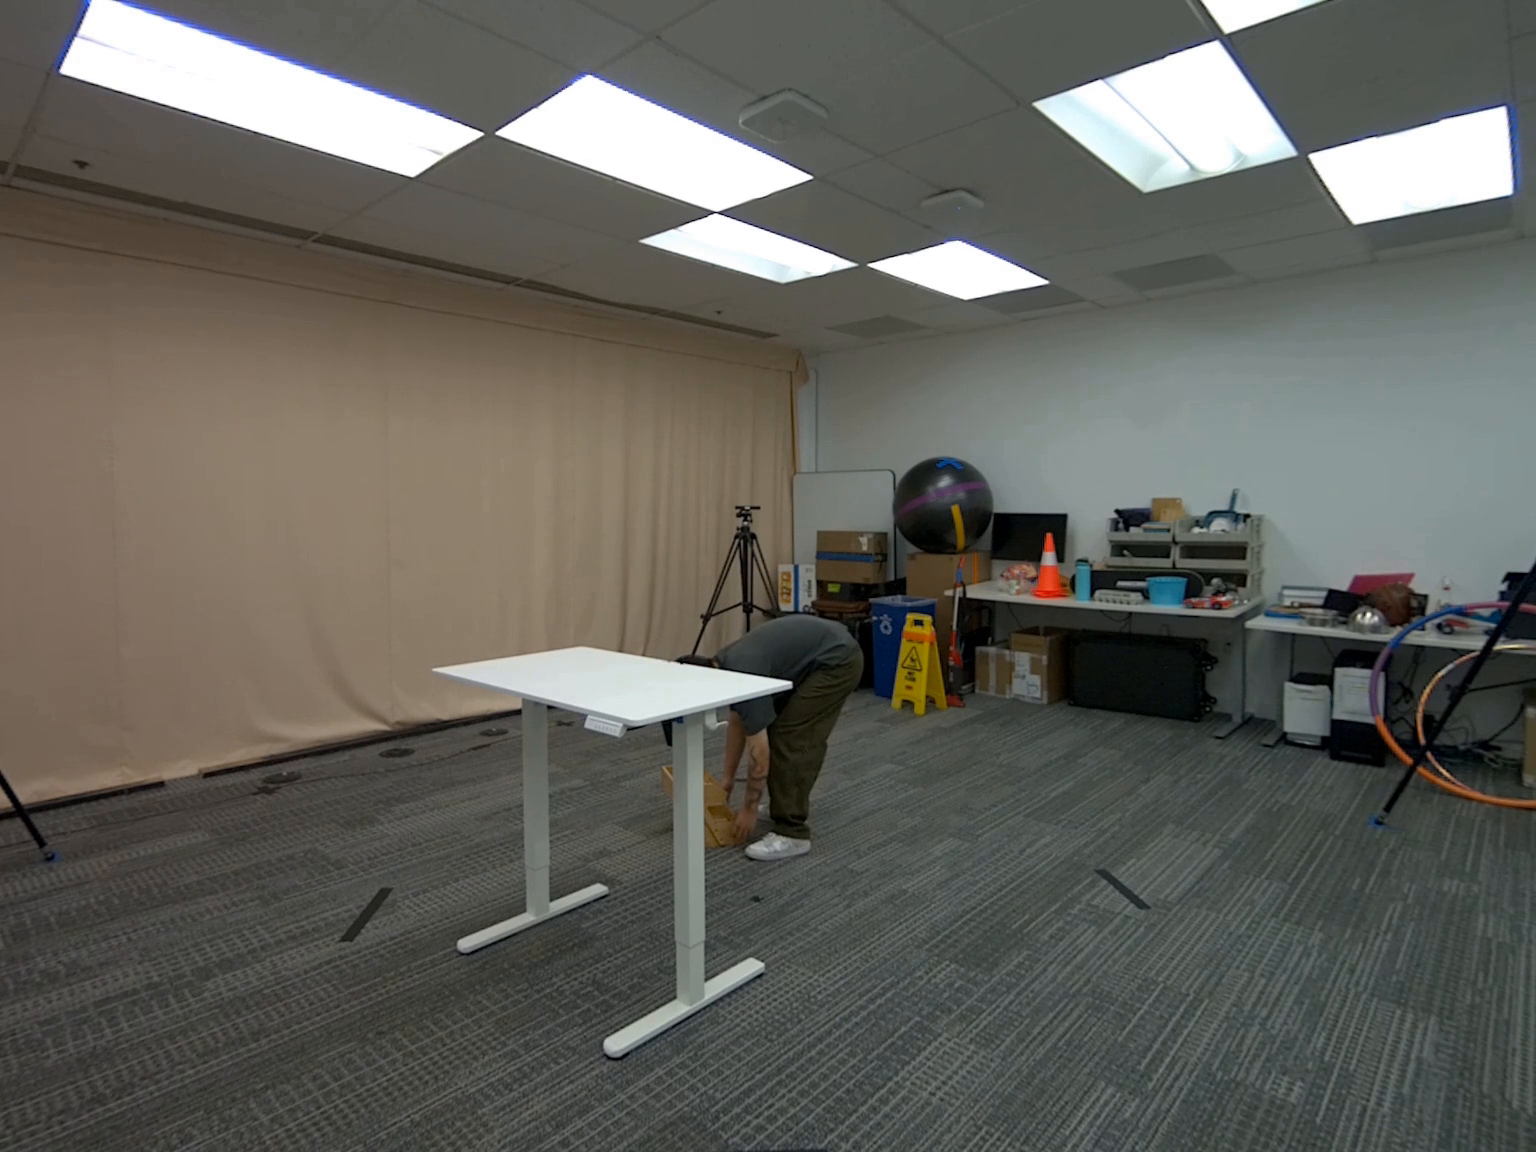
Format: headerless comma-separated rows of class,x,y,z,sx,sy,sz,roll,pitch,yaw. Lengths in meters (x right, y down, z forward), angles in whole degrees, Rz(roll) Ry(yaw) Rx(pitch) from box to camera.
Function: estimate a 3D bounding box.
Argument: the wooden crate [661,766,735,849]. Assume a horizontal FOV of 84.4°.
wooden crate,-0.273,0.972,3.593,0.296,0.272,0.331,-3,5,-19
